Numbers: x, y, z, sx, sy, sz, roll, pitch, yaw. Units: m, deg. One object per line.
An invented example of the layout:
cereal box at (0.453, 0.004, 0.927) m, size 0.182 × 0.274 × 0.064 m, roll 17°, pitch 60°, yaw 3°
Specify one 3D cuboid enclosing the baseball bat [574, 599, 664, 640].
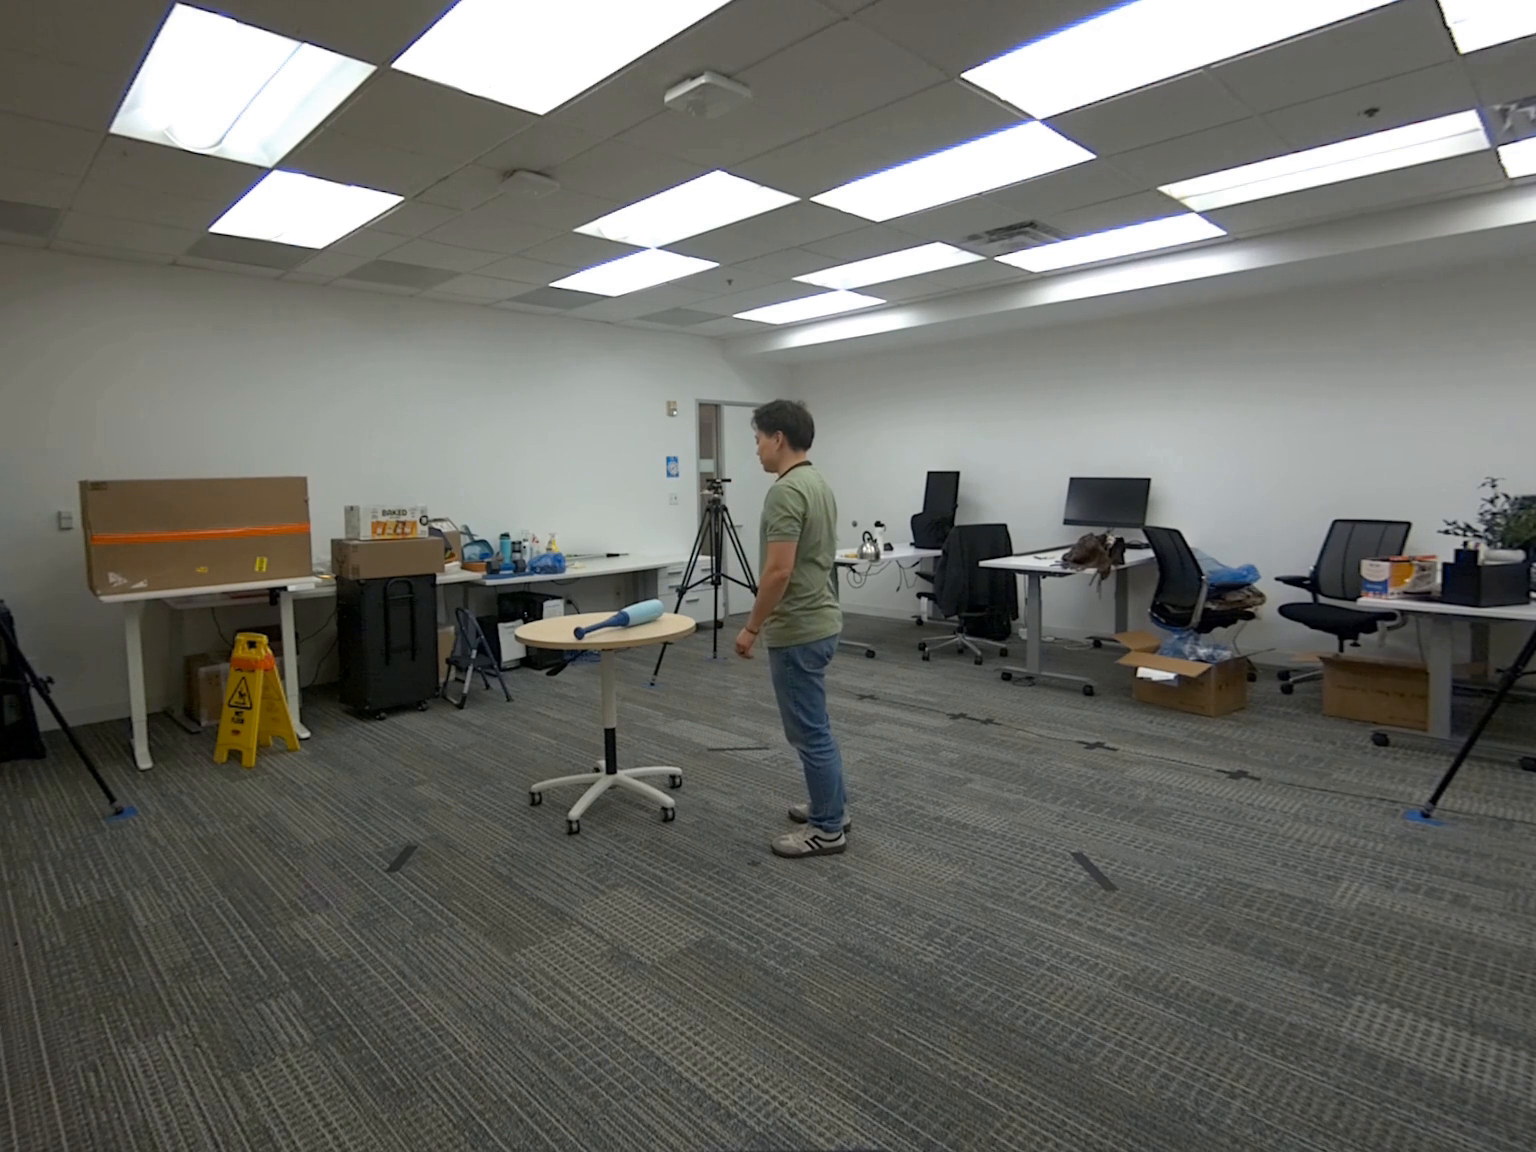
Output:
baseball bat at (-0.611, 0.187, 3.545) m, size 0.091 × 0.088 × 0.533 m, roll 1°, pitch 10°, yaw 27°
